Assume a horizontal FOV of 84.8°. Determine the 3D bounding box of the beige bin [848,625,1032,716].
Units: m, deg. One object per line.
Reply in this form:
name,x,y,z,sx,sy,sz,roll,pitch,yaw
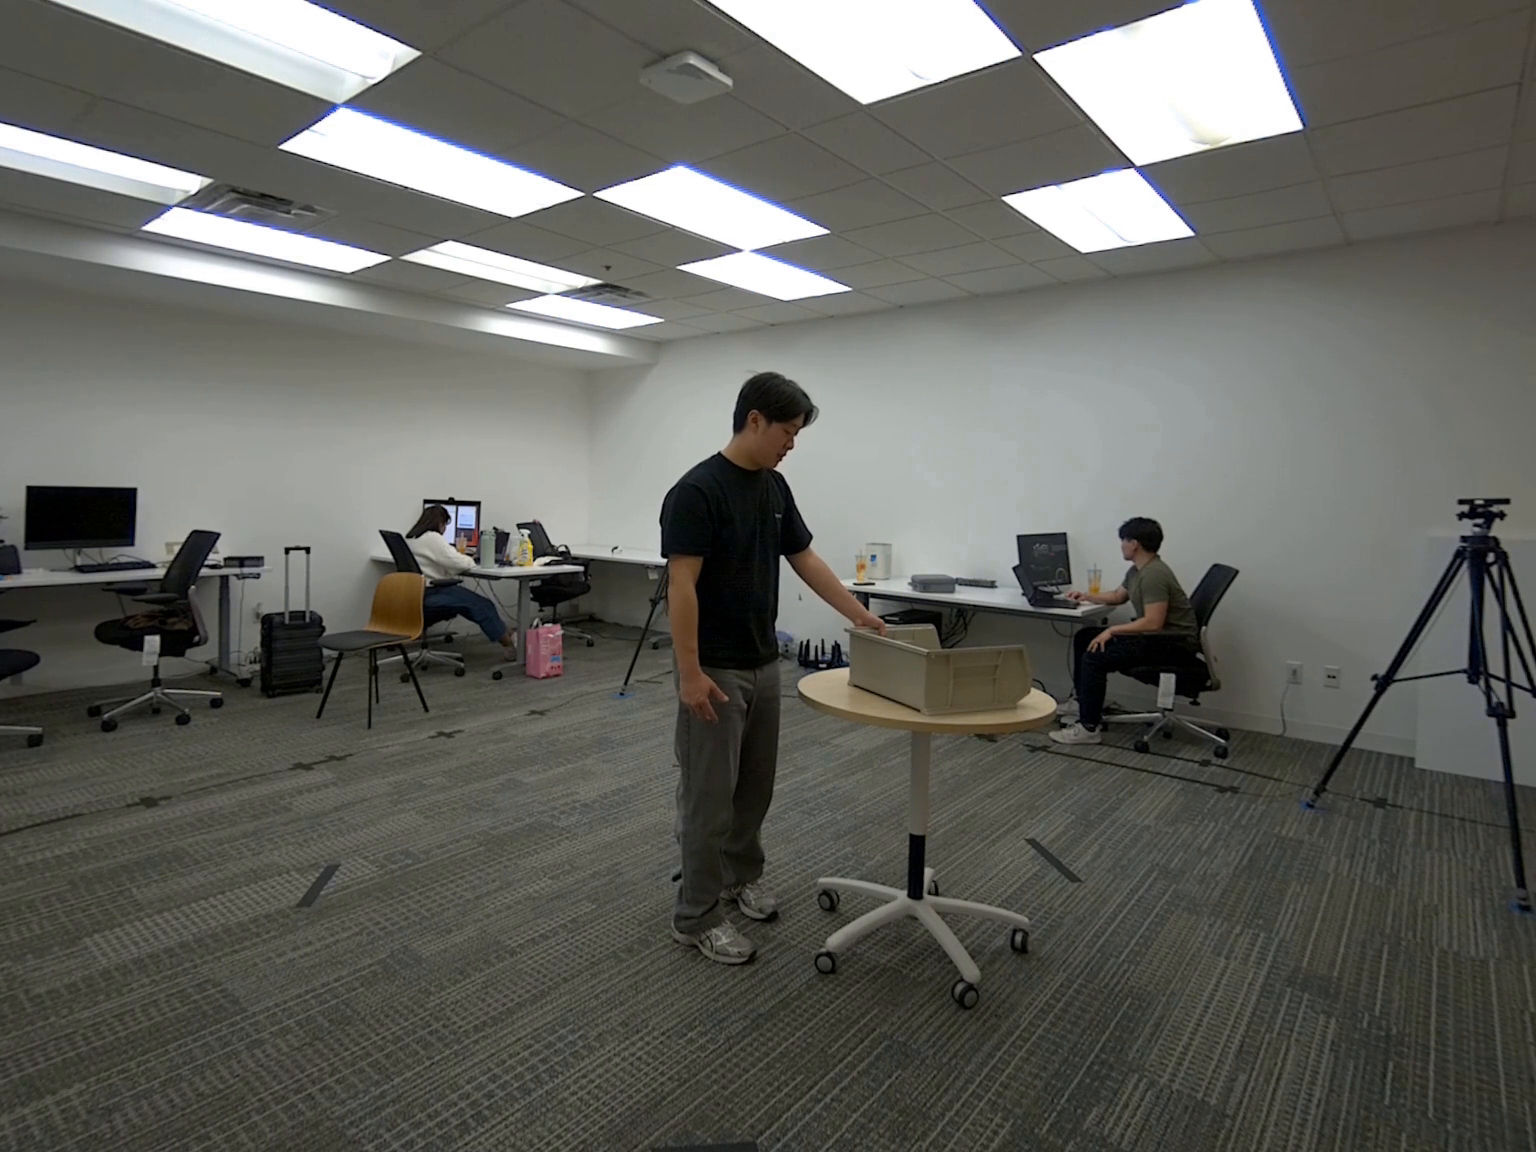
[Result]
beige bin,0.494,0.273,2.548,0.369,0.188,0.434,-2,7,-25
